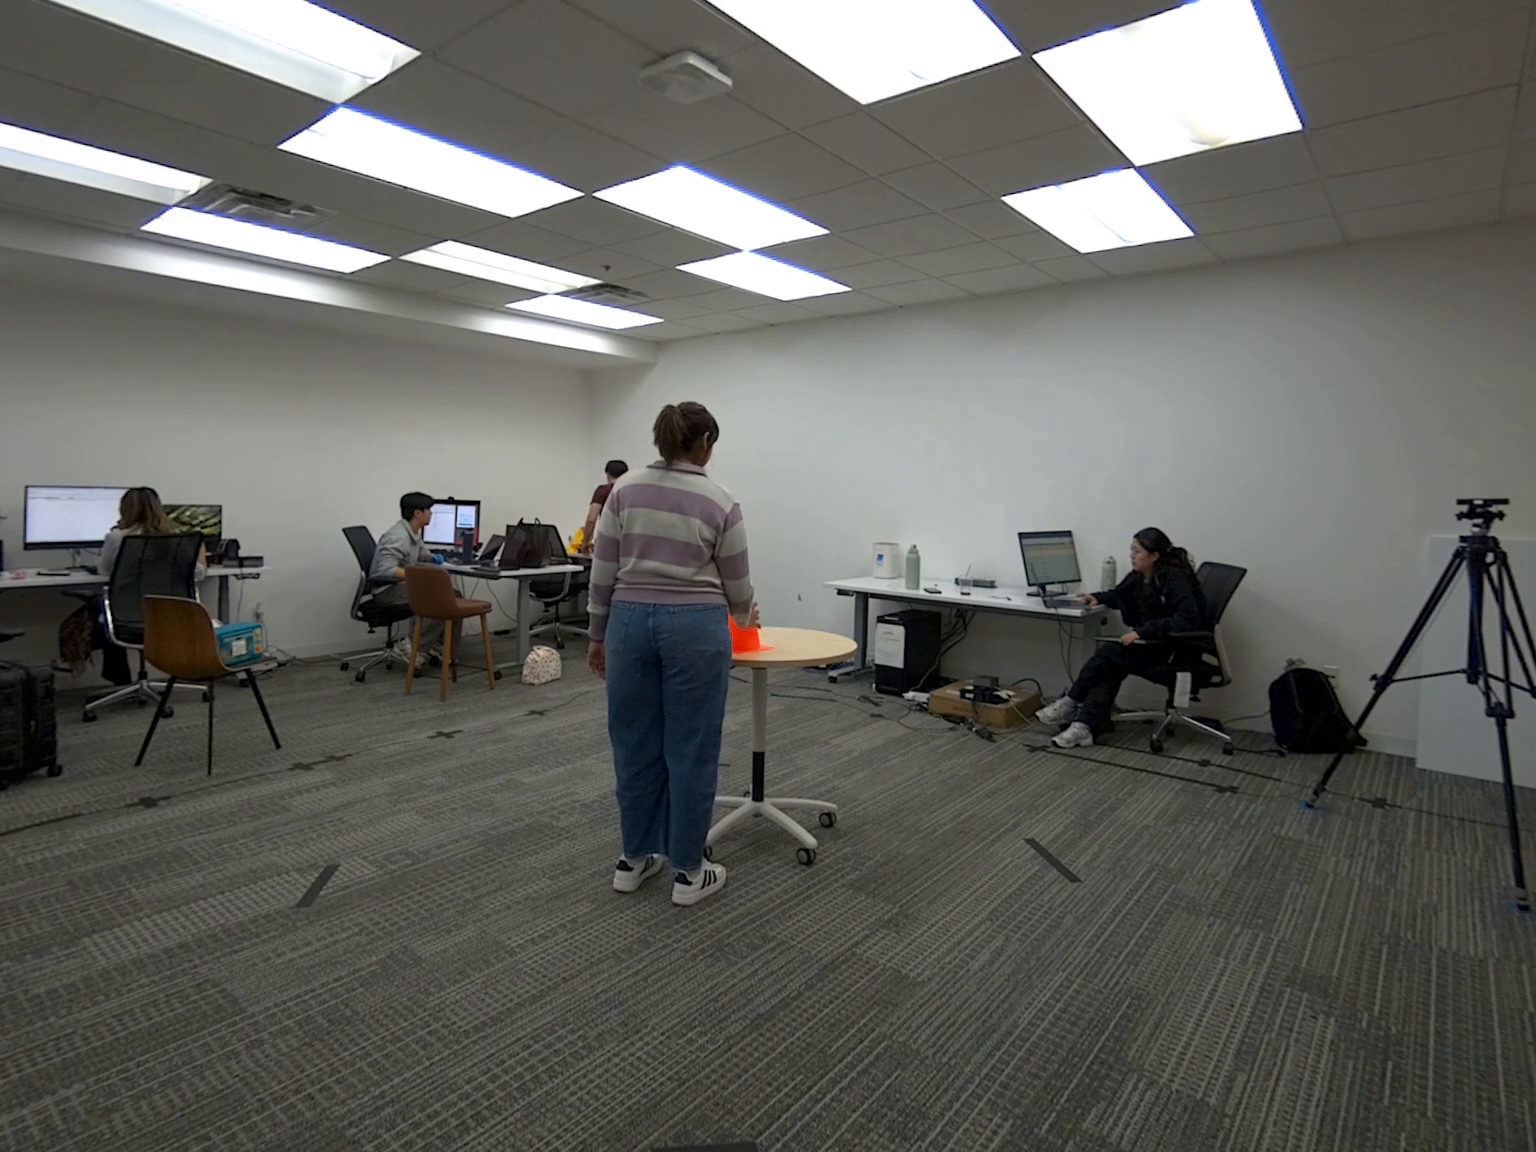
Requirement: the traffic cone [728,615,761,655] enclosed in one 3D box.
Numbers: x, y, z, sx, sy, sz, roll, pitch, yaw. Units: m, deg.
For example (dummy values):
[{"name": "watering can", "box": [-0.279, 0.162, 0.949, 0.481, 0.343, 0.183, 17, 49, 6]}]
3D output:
[{"name": "traffic cone", "box": [-0.108, 0.088, 3.270, 0.209, 0.382, 0.199, 4, 4, 30]}]
